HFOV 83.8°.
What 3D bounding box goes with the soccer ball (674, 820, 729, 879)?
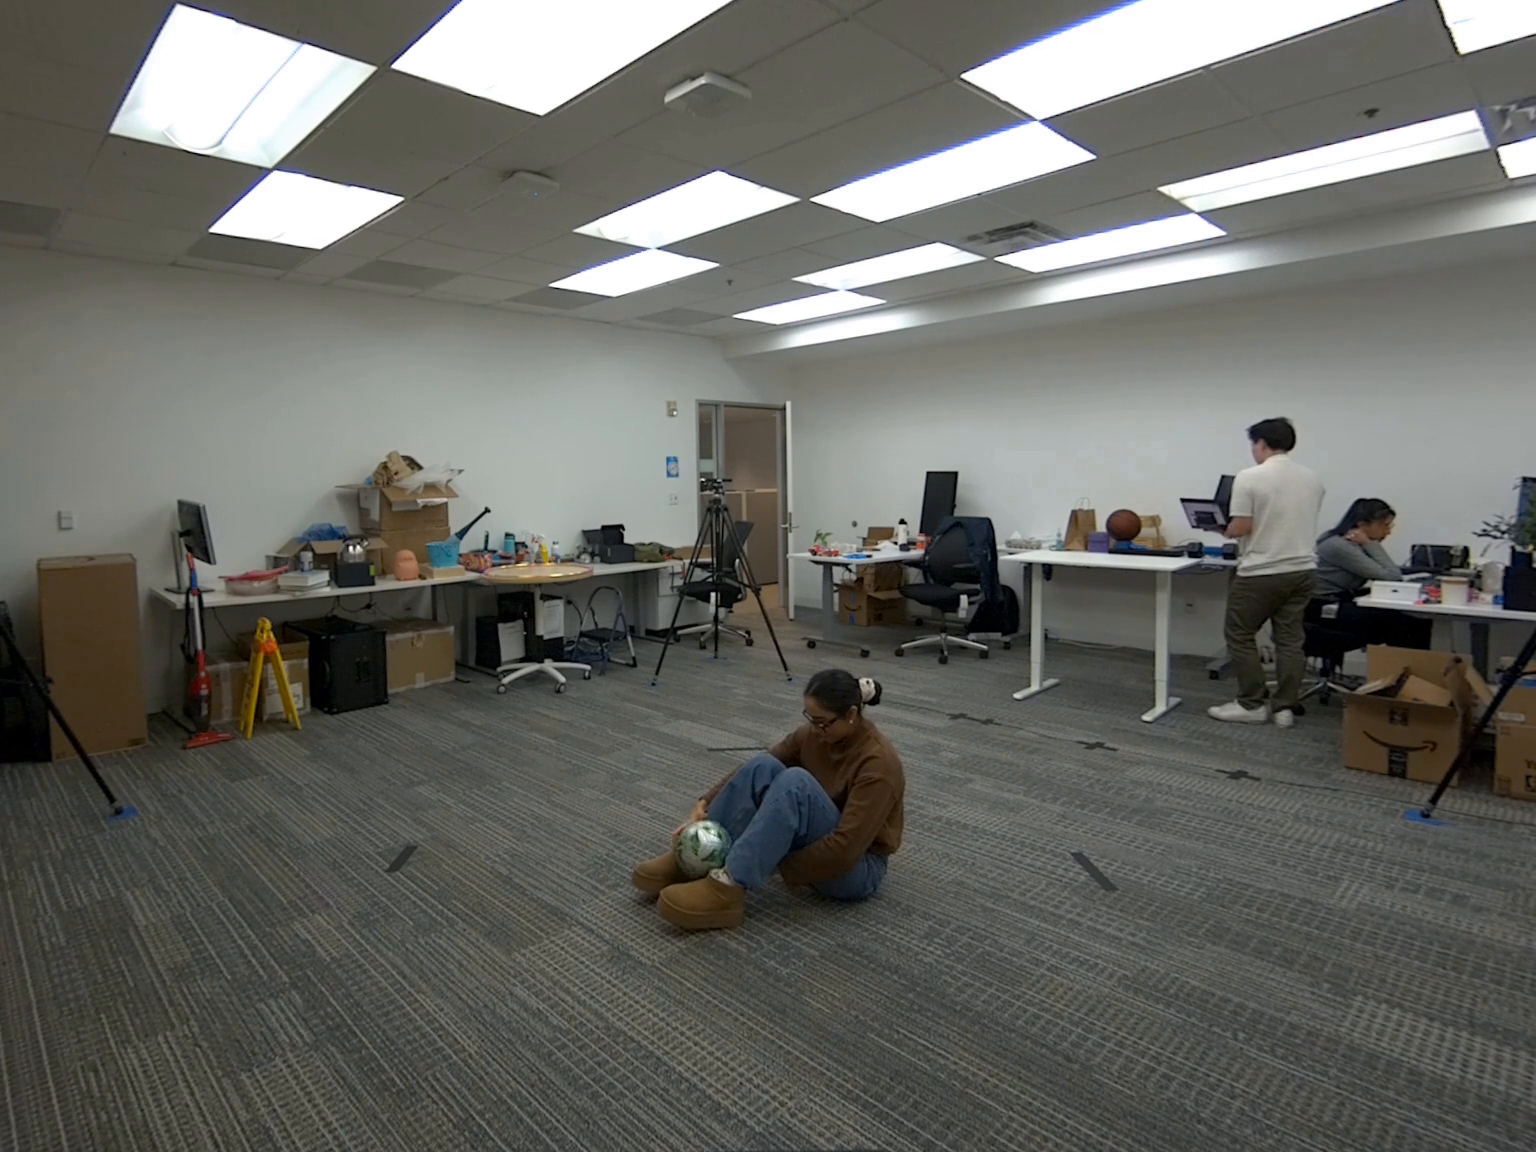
[{"bbox_3d":[-0.204,0.903,2.789,0.187,0.187,0.188,-1,5,-2],"label":"soccer ball"}]
